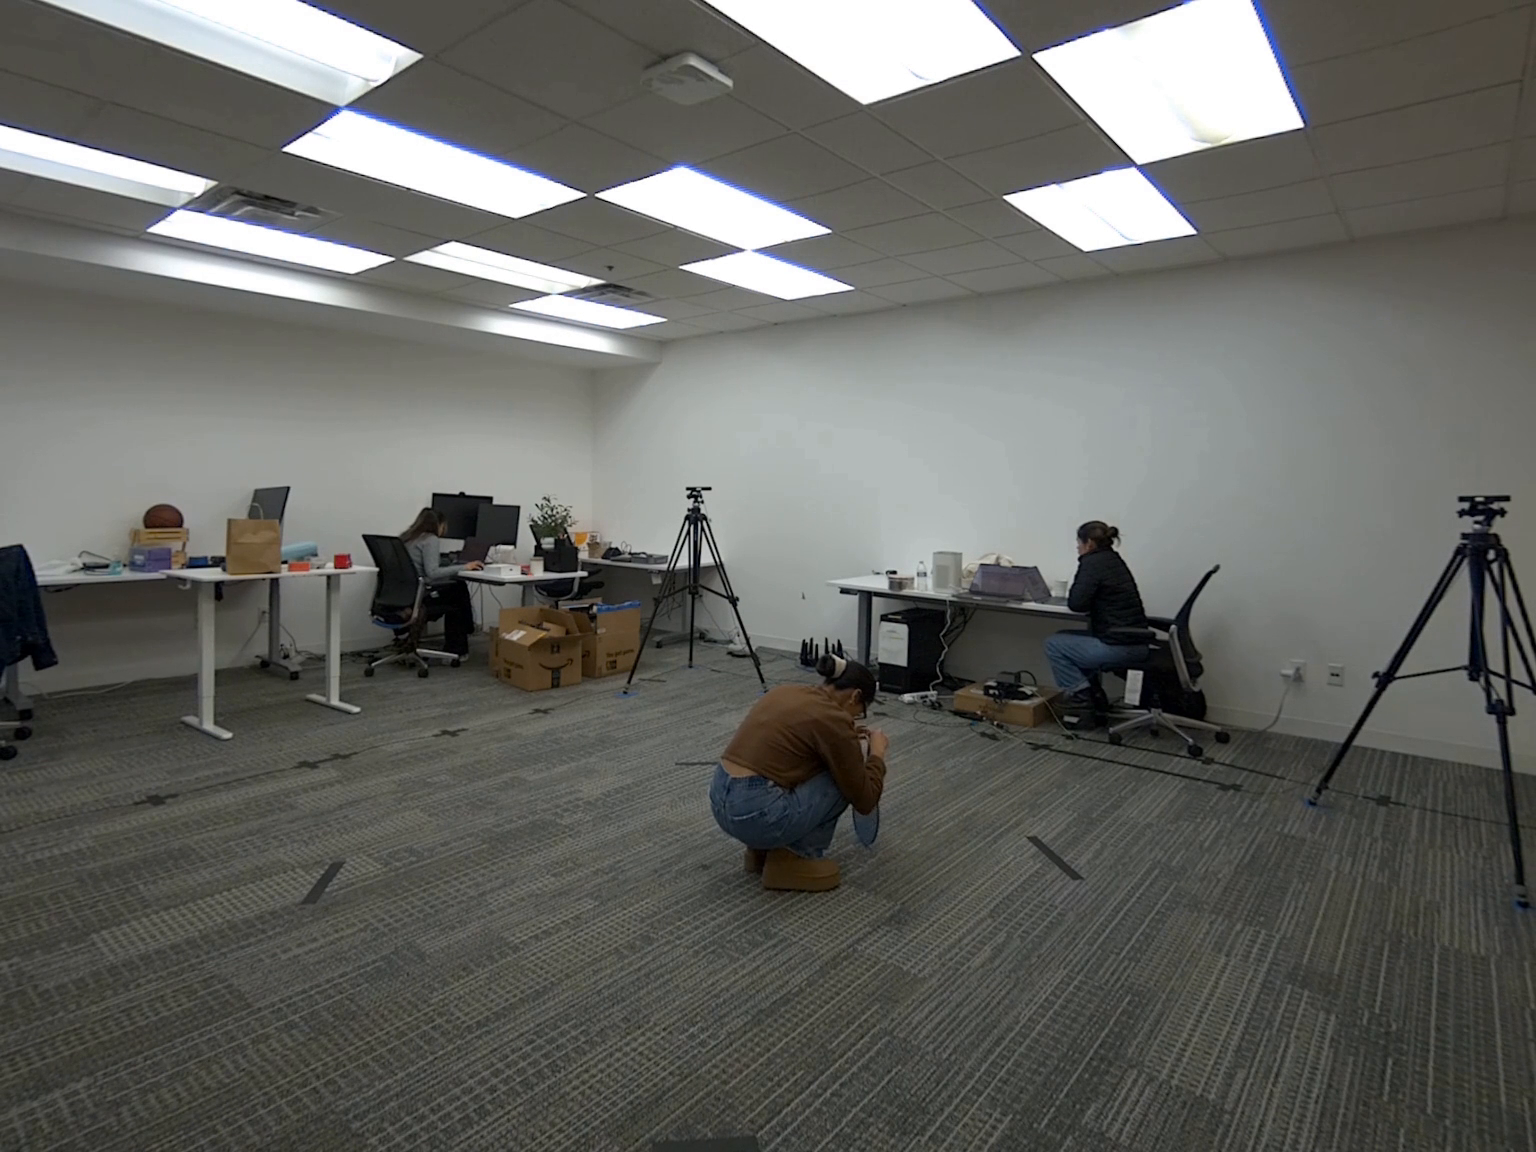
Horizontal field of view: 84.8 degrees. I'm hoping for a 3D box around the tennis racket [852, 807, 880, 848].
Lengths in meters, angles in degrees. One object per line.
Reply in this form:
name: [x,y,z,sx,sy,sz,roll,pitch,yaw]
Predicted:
tennis racket: [0.383,0.845,3.320,0.031,0.429,0.220,2,12,-18]
